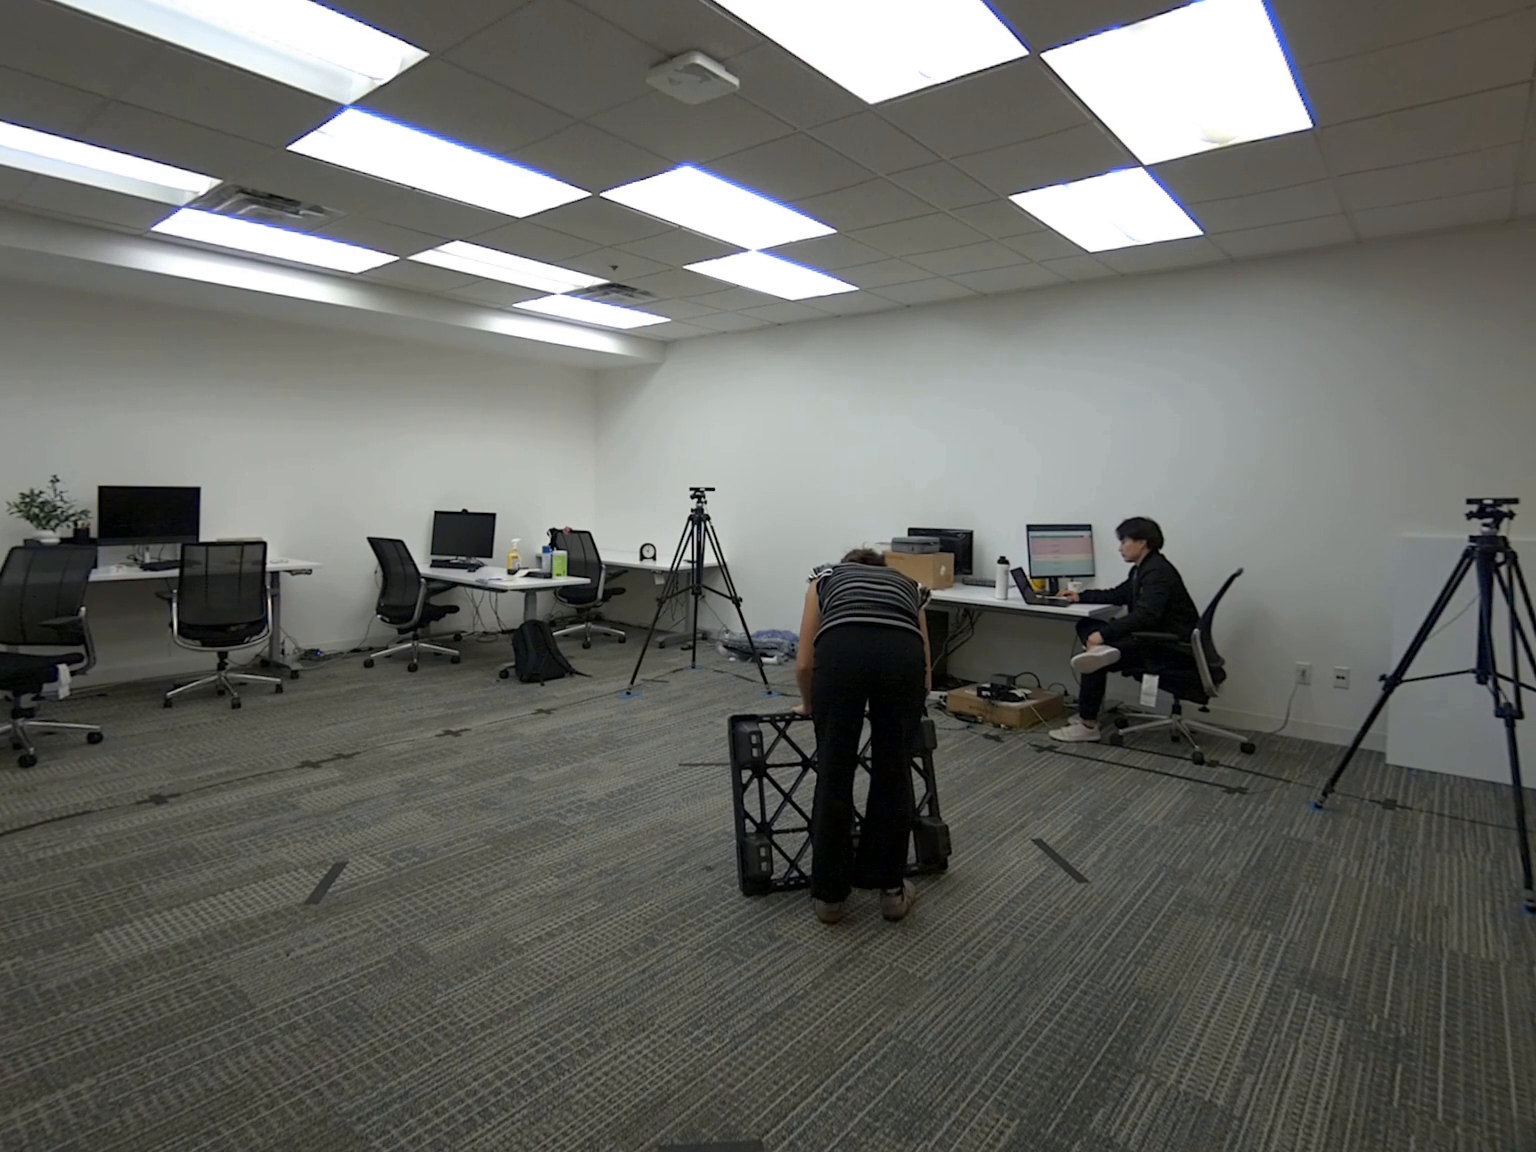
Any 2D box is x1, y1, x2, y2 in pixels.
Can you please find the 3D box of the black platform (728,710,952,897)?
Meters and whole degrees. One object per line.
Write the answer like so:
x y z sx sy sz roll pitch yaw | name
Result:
0.267 0.777 3.060 0.791 0.615 0.143 -1 -16 -17 | black platform
